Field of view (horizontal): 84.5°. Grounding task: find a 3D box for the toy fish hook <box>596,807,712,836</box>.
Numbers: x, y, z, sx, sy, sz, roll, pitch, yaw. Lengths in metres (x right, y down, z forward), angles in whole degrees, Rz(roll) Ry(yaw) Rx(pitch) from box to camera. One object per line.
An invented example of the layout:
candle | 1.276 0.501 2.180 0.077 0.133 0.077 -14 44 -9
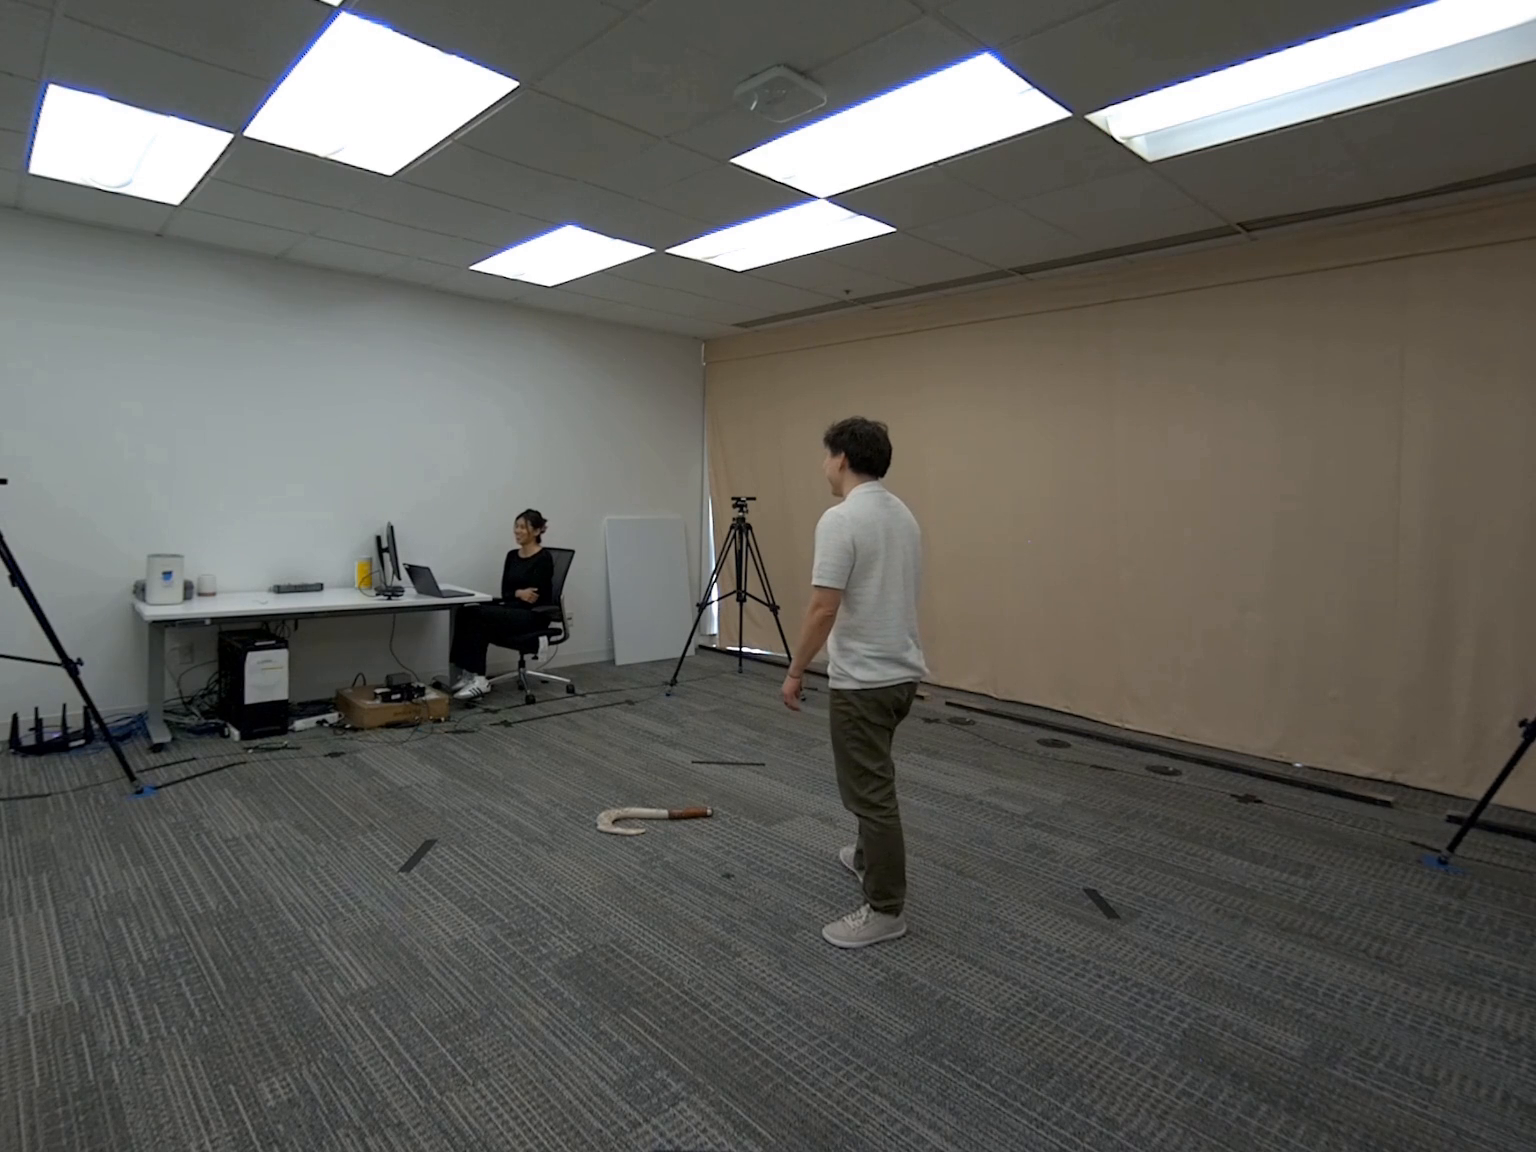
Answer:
toy fish hook | -0.484 1.041 3.584 0.501 0.048 0.229 0 13 -13
